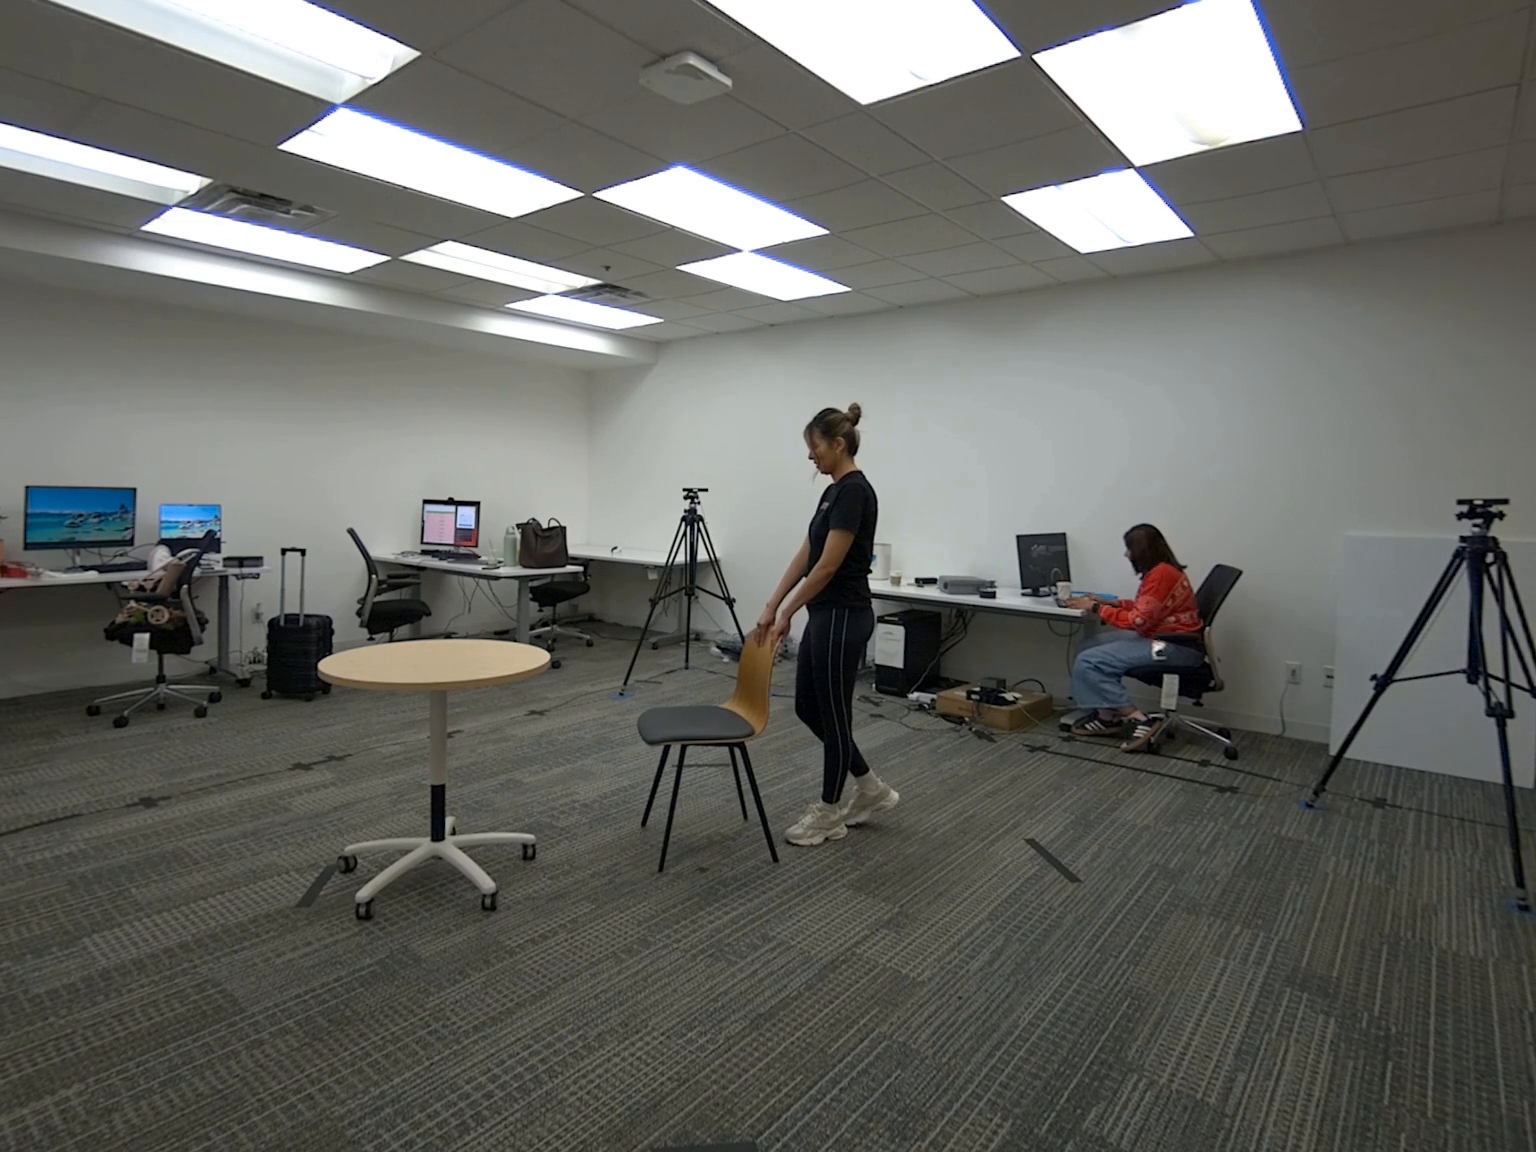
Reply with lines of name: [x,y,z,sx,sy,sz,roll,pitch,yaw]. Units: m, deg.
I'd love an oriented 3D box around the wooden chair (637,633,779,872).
wooden chair: [-0.250,0.625,3.304,0.514,0.875,0.487,4,3,-16]
